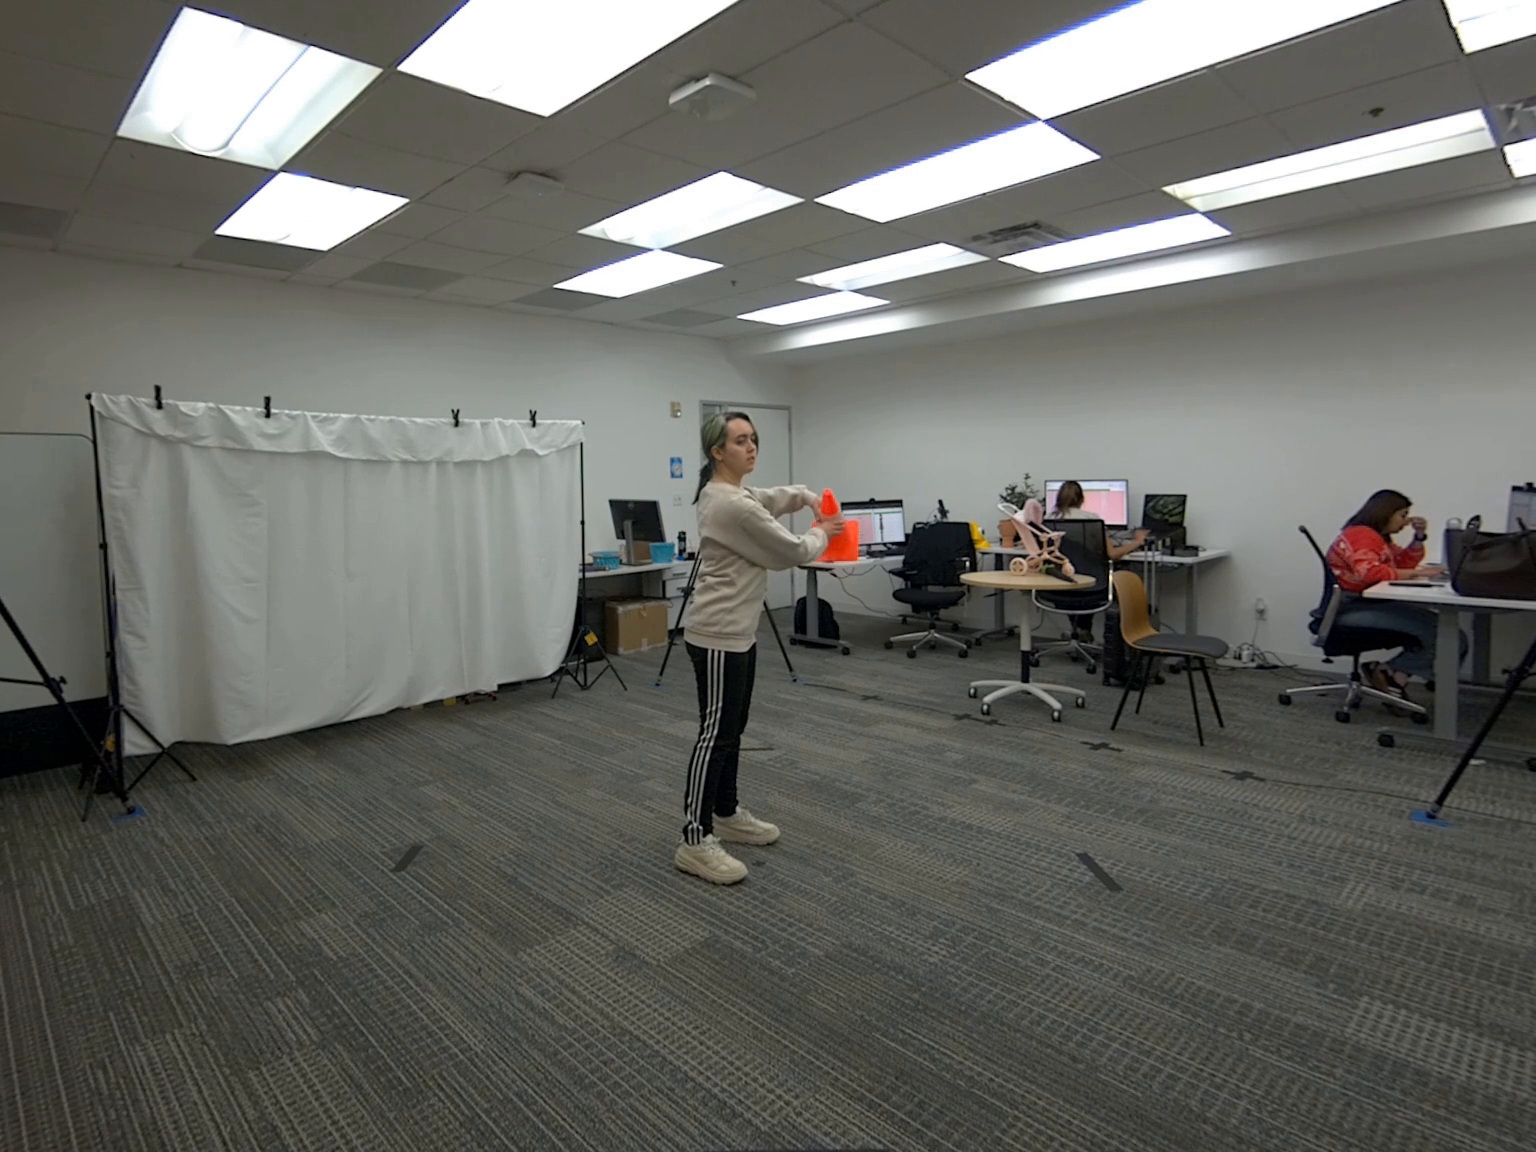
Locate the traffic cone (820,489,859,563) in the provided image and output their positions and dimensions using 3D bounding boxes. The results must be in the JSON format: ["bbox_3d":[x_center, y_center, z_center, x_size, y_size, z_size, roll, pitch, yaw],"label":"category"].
[{"bbox_3d":[0.252,-0.220,3.428,0.206,0.208,0.371,3,-27,14],"label":"traffic cone"}]
